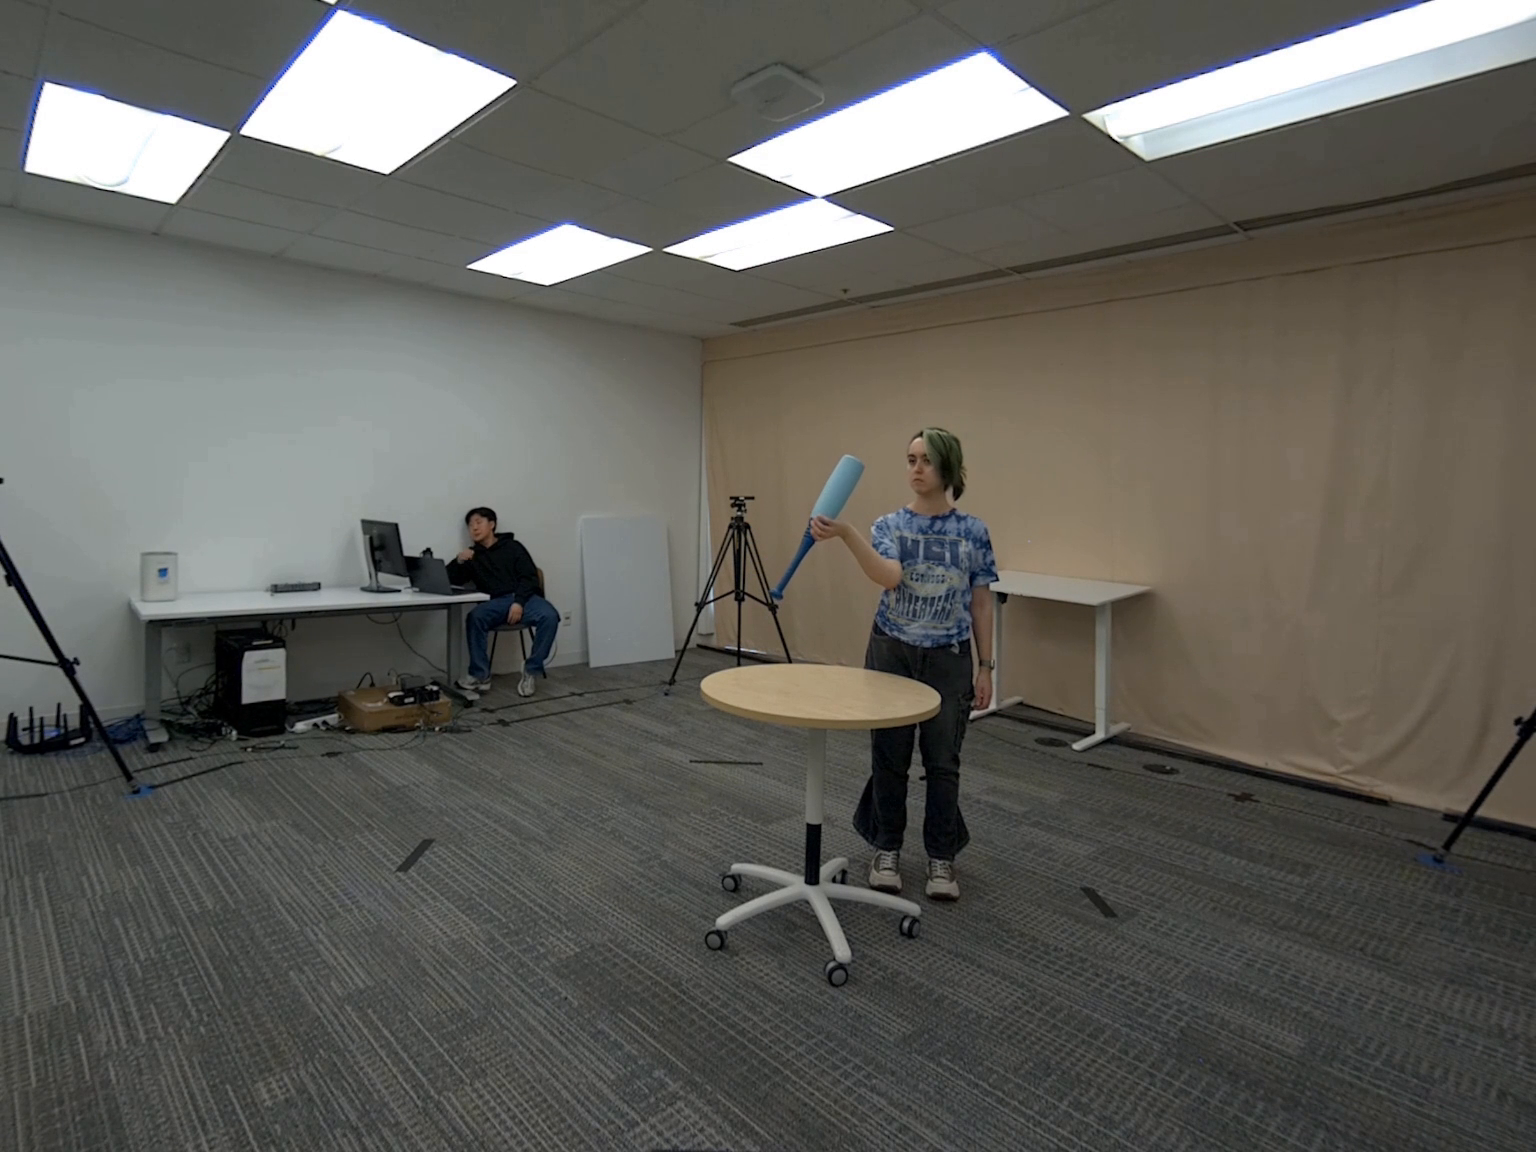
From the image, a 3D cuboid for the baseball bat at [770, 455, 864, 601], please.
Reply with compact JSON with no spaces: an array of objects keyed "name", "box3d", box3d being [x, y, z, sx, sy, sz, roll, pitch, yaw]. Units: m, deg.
[{"name":"baseball bat","box3d":[0.155,-0.158,2.789,0.089,0.544,0.088,30,-8,3]}]
